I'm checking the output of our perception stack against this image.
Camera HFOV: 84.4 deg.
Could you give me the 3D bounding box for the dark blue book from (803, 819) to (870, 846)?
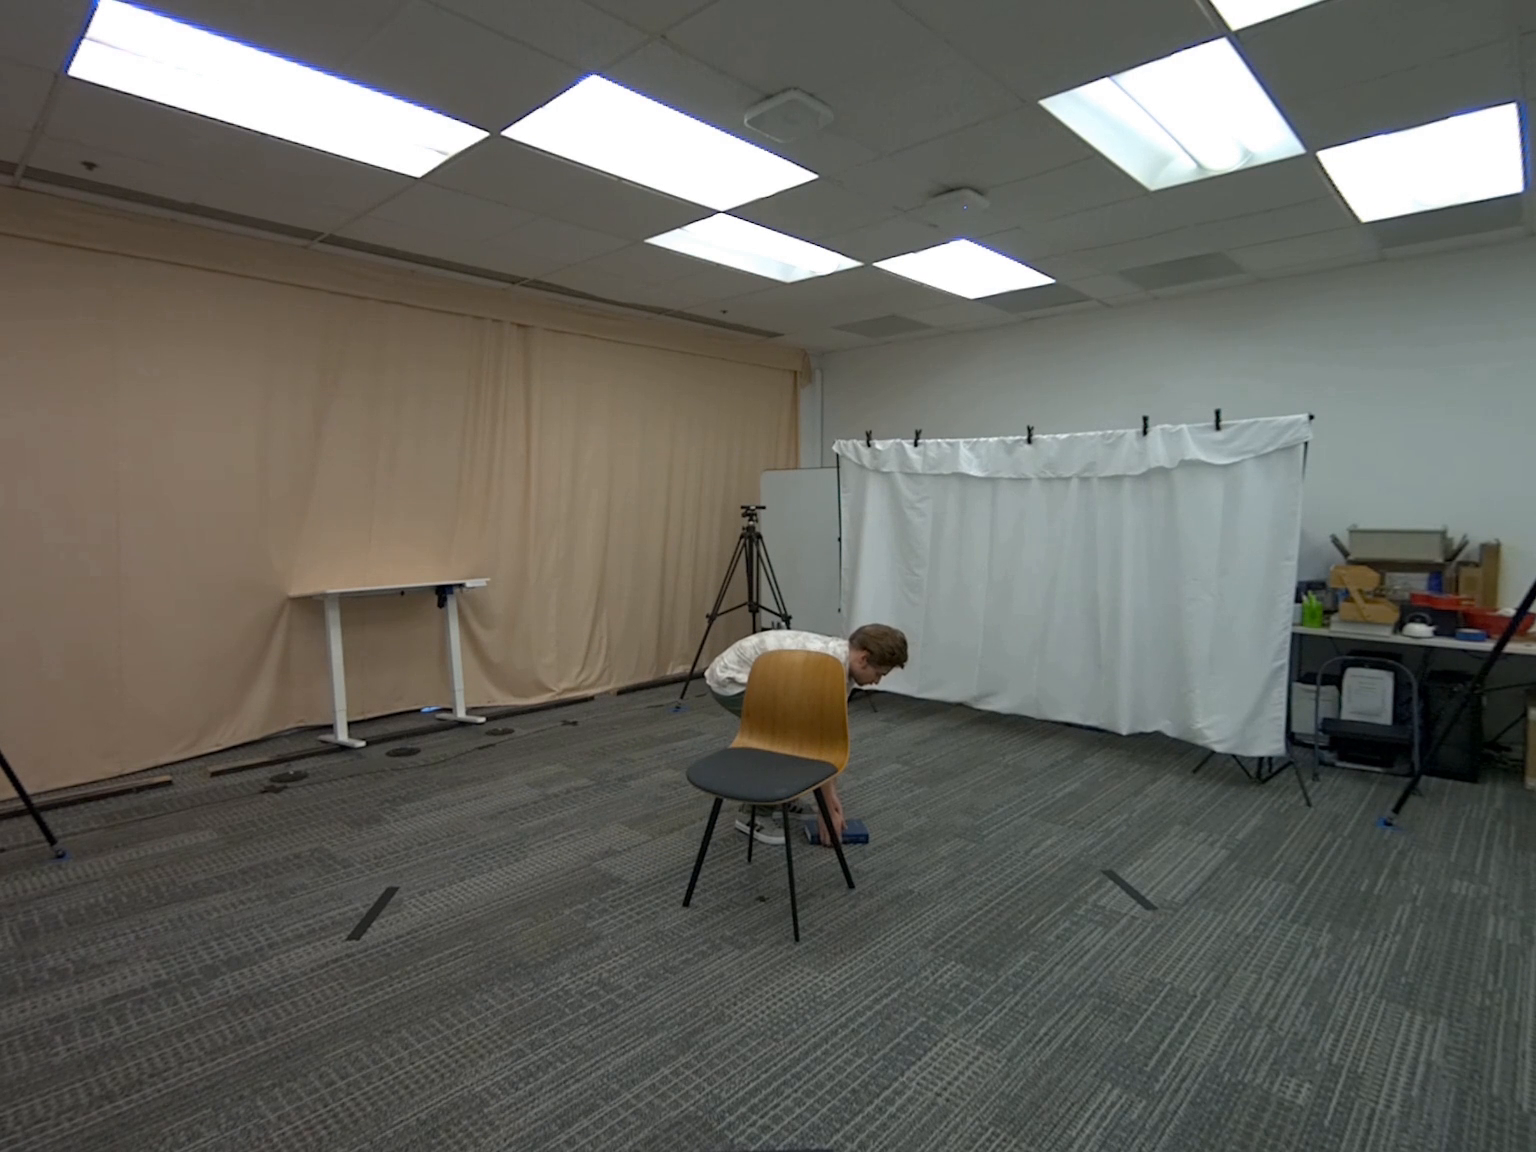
[{"bbox_3d":[0.296,1.074,3.539,0.244,0.045,0.164,-1,5,-4],"label":"dark blue book"}]
